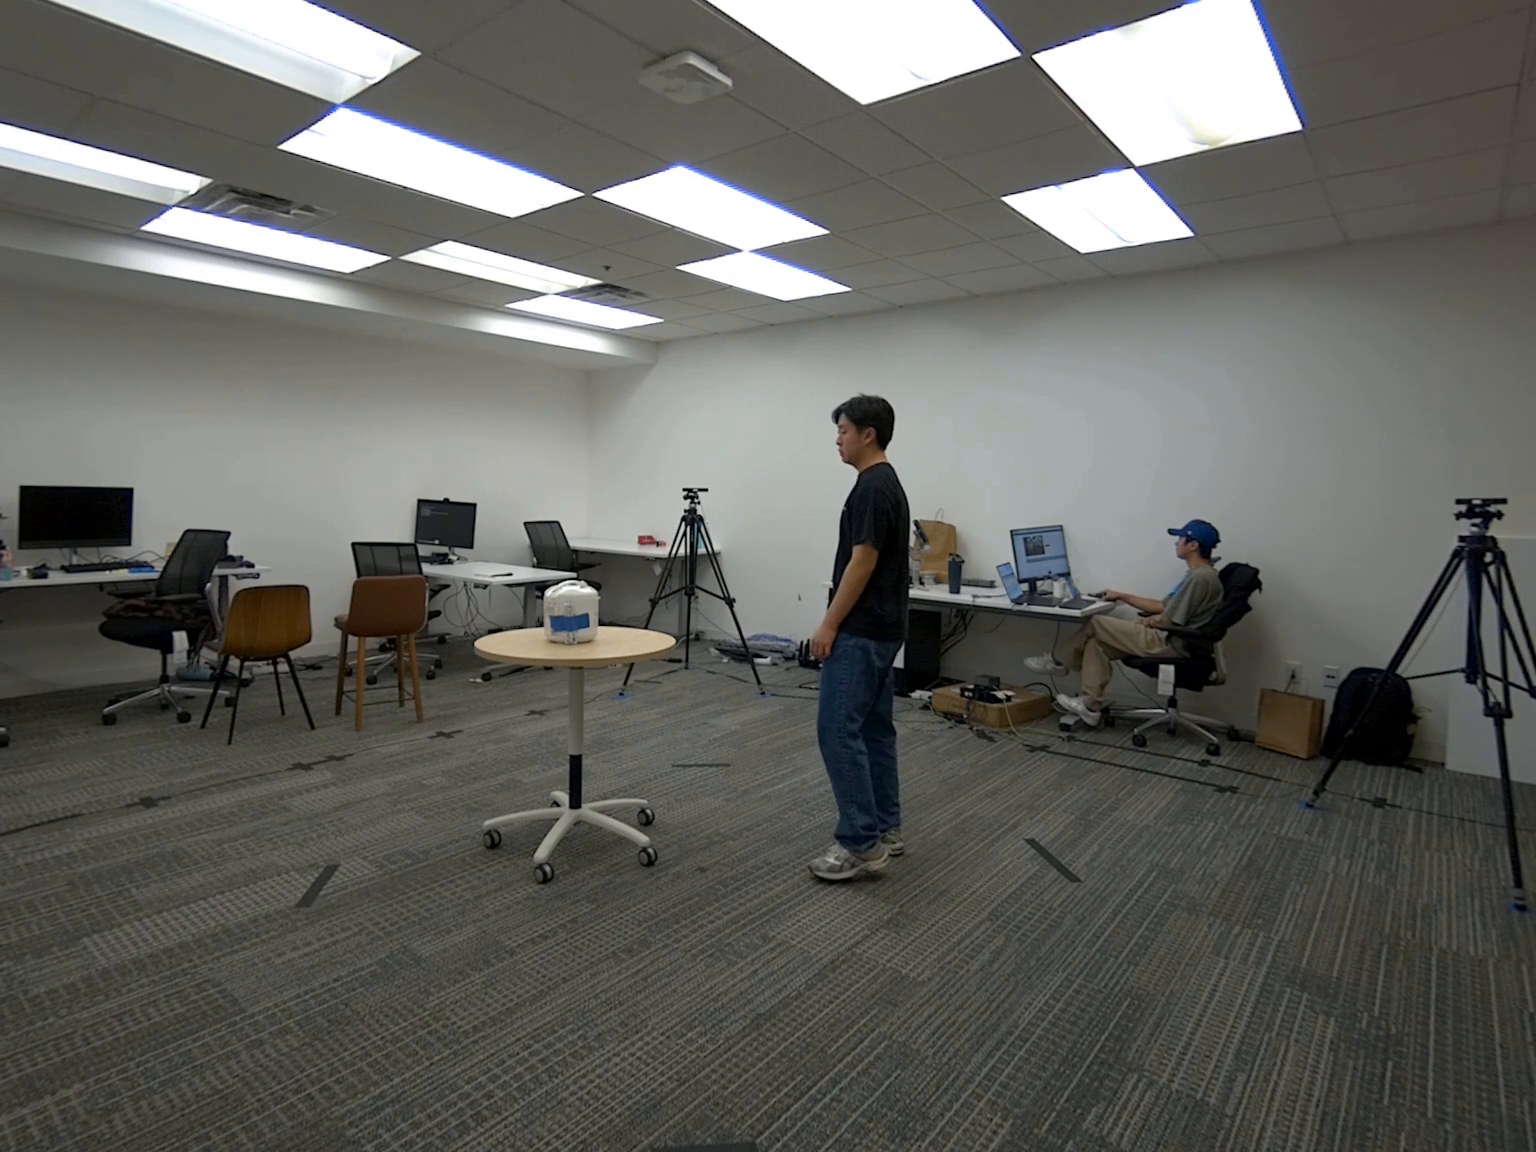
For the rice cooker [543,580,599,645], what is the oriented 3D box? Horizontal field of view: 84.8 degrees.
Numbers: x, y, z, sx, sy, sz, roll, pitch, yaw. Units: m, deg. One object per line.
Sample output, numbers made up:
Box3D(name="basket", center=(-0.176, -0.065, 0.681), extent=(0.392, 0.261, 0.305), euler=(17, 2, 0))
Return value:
Box3D(name="rice cooker", center=(-0.779, 0.131, 3.307), extent=(0.224, 0.232, 0.214), euler=(5, 5, 36))
